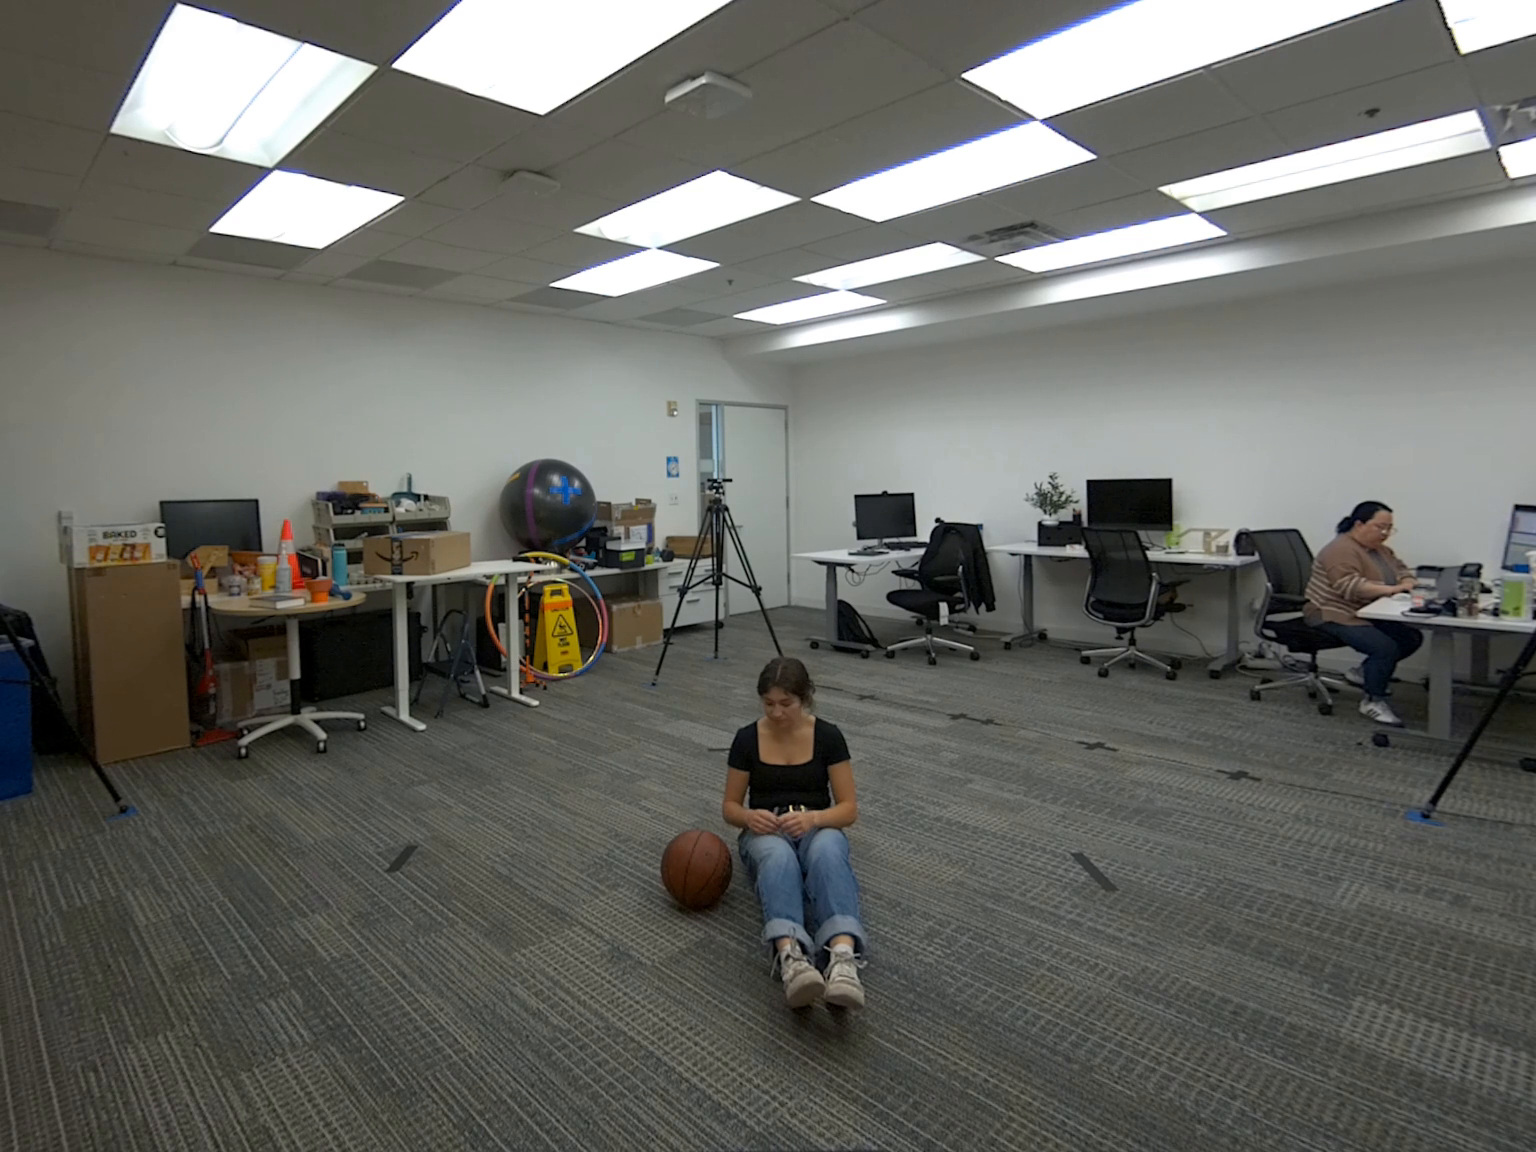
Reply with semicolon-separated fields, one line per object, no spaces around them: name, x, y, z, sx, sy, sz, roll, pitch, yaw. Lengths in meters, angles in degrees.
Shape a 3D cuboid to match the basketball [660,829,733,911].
basketball;-0.232;0.960;2.818;0.236;0.235;0.237;-1;5;-2
